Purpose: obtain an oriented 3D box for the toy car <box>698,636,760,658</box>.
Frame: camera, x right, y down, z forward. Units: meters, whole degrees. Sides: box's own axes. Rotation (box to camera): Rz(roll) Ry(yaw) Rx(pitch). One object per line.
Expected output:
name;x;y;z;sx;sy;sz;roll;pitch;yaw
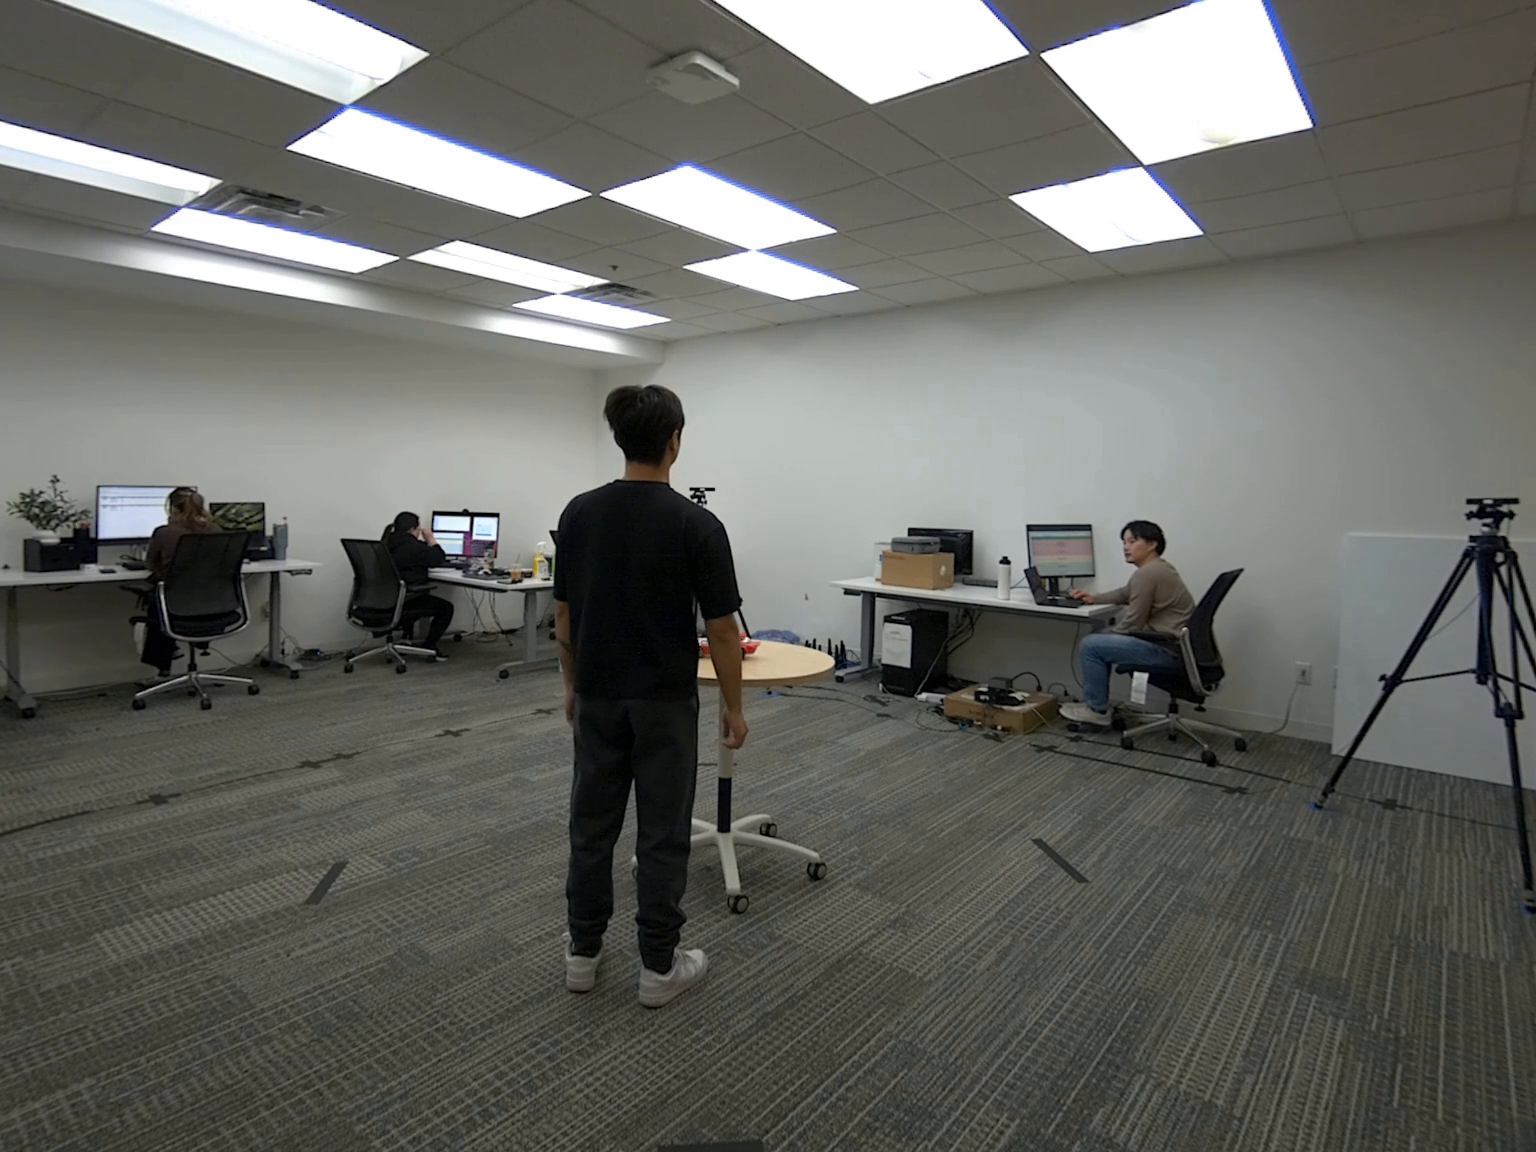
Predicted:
toy car;-0.160;0.257;3.065;0.256;0.083;0.130;-10;3;5
